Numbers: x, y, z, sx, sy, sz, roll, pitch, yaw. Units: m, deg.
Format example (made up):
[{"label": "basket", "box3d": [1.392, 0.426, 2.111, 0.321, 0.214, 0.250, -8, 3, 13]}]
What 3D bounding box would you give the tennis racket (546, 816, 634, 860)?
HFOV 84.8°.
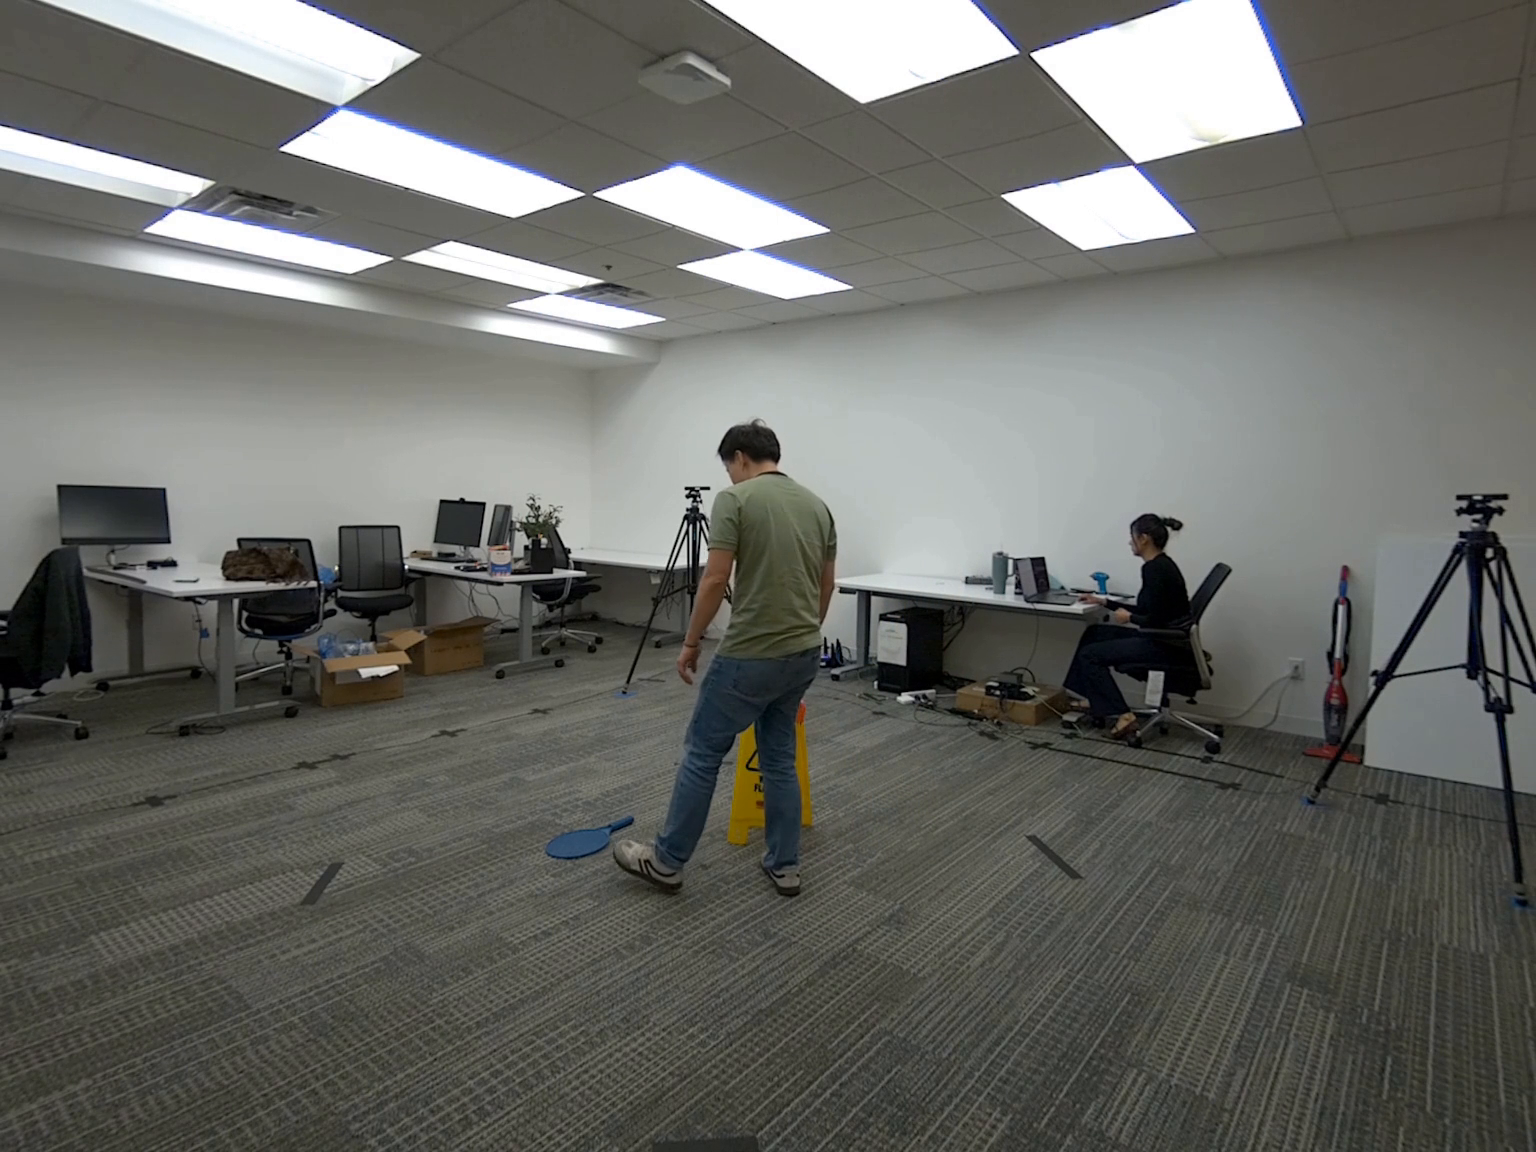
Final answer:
[{"label": "tennis racket", "box3d": [-0.700, 1.025, 3.348, 0.221, 0.031, 0.421, 5, 8, 37]}]
